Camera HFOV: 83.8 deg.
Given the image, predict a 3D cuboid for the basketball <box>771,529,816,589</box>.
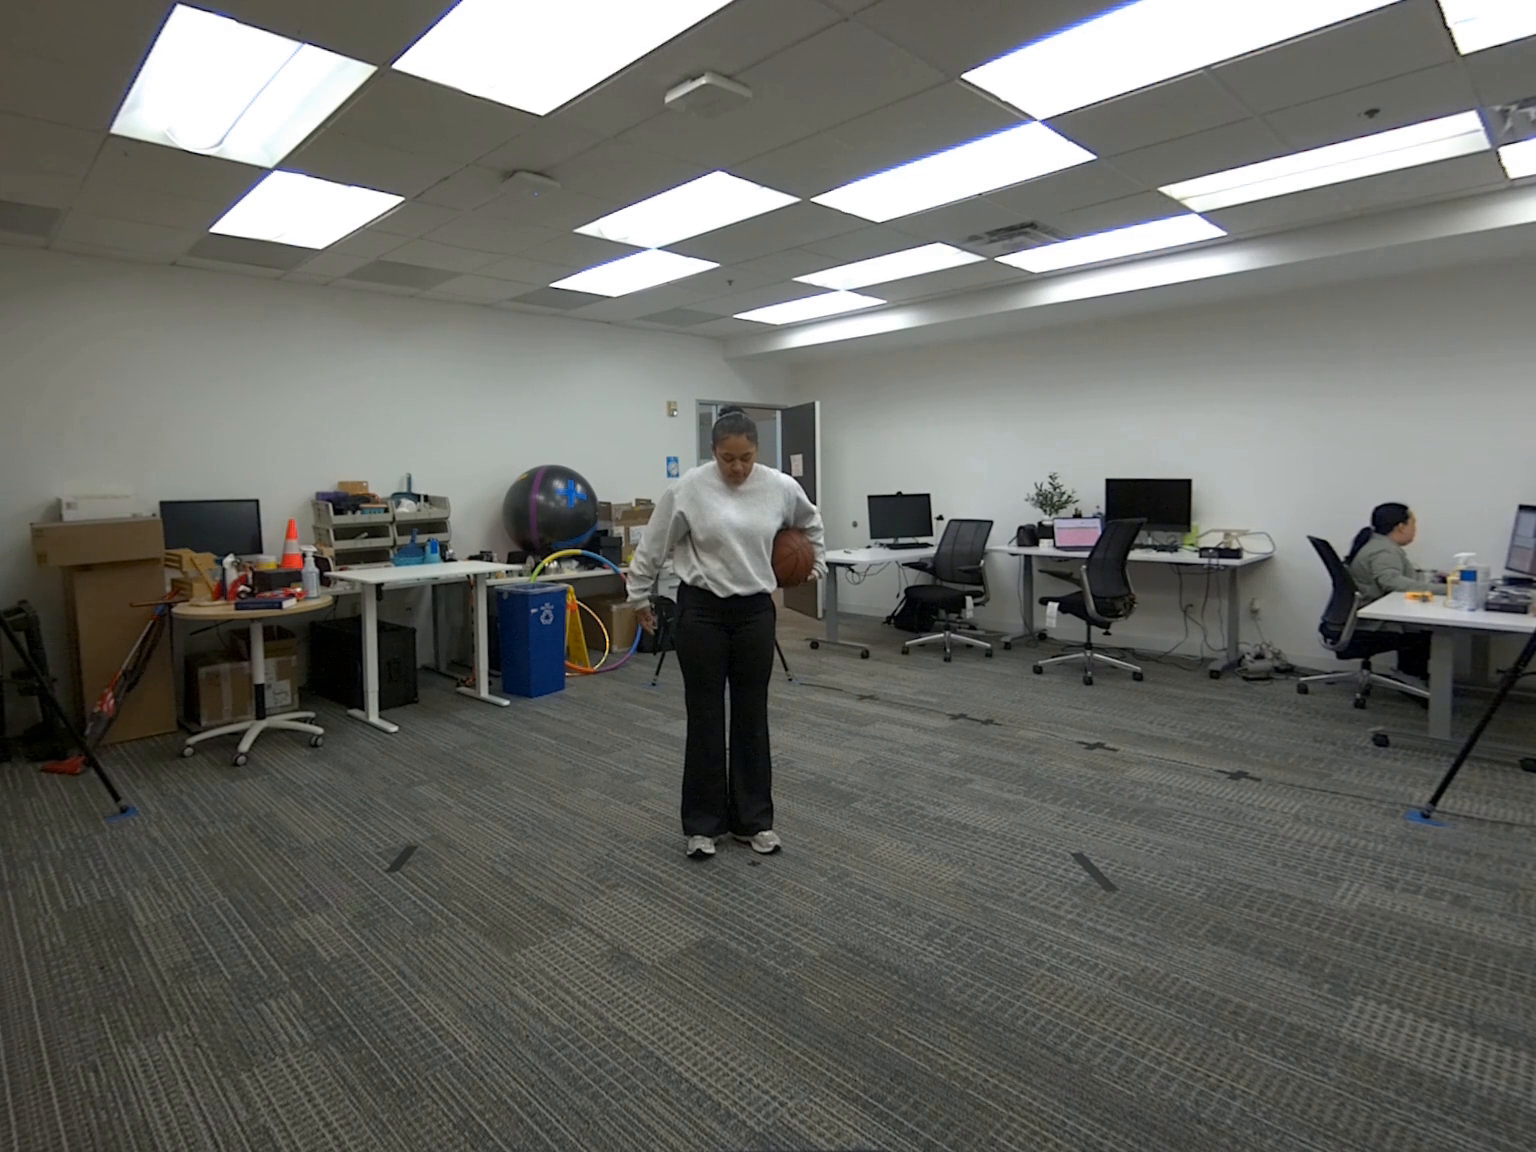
[{"bbox_3d":[0.064,-0.072,3.372,0.236,0.235,0.237,-1,5,-2],"label":"basketball"}]
